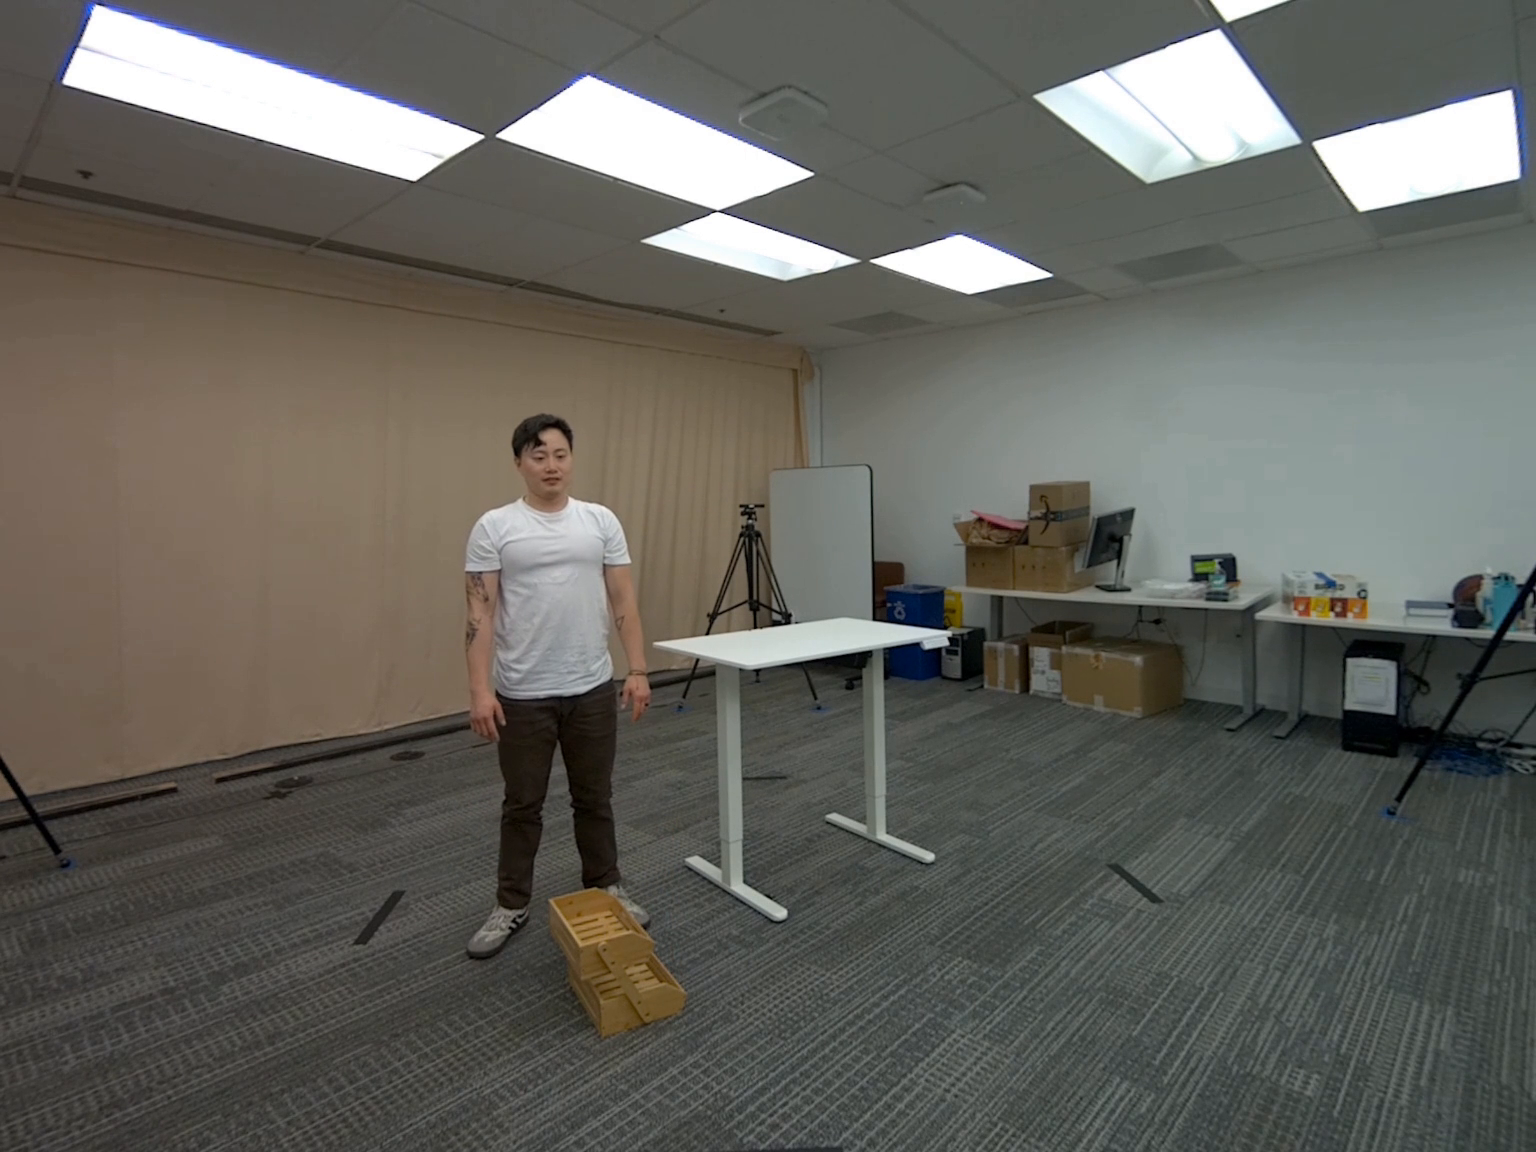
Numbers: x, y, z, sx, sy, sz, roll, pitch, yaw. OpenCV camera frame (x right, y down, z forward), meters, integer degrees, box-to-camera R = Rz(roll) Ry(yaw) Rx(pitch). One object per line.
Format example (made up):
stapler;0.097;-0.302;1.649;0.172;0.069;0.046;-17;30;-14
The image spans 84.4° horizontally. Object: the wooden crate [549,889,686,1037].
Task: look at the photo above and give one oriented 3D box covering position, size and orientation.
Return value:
wooden crate;-0.426;1.066;2.378;0.294;0.273;0.334;-4;4;-29
